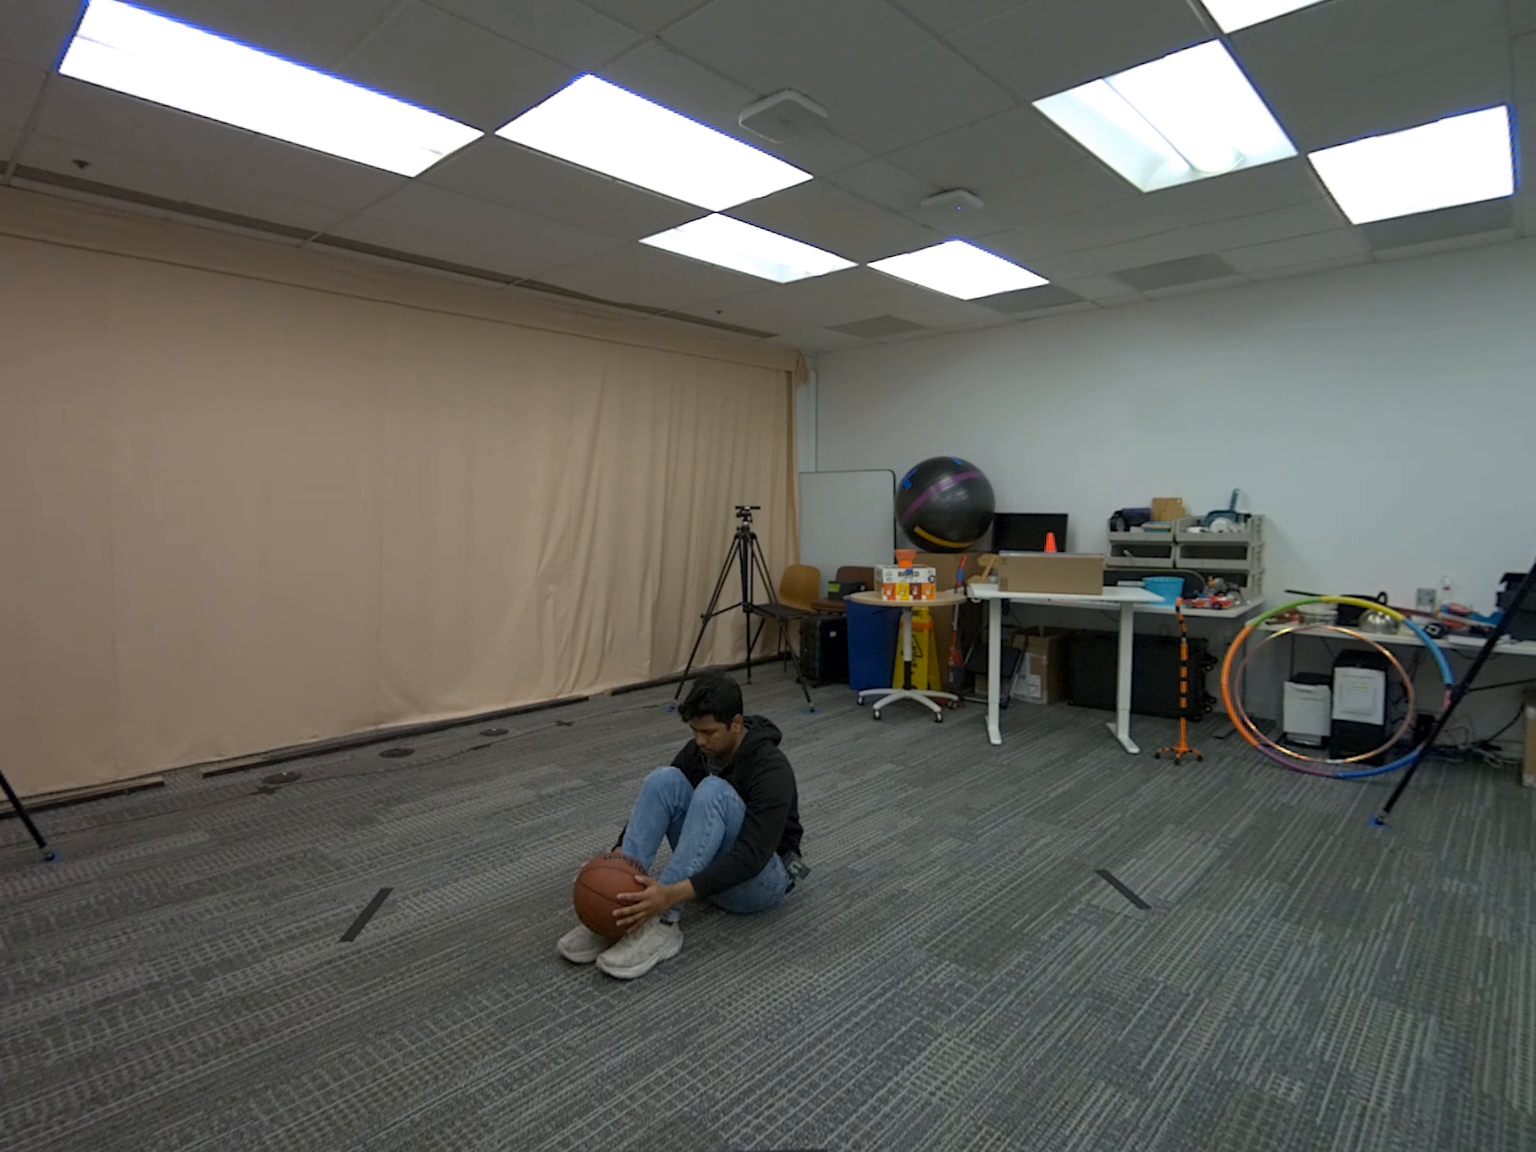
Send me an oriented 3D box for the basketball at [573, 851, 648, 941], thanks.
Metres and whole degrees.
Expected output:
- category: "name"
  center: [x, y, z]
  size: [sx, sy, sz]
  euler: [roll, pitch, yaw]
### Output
- category: "basketball"
  center: [-0.469, 0.972, 2.582]
  size: [0.236, 0.235, 0.237]
  euler: [0, 4, -2]
